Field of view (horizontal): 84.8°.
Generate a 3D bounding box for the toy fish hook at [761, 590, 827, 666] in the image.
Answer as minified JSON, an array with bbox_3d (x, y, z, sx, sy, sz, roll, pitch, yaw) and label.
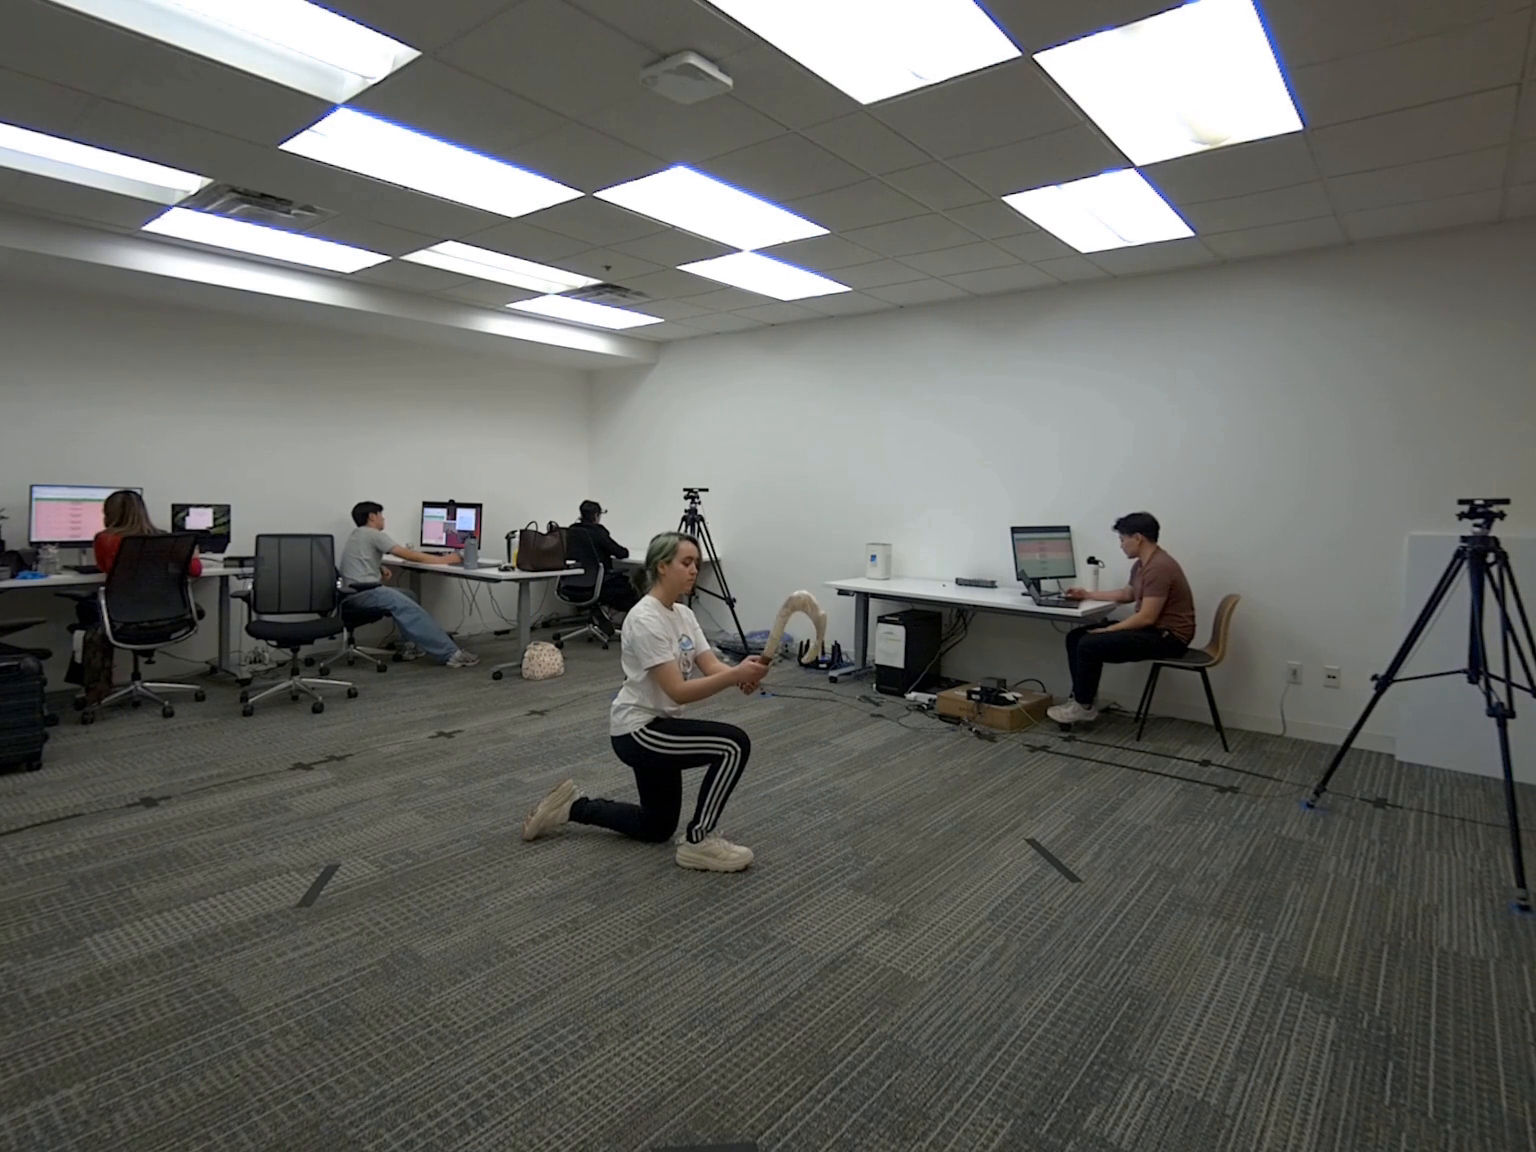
[{"bbox_3d":[0.041,0.278,2.930,0.047,0.503,0.234,4,41,-38],"label":"toy fish hook"}]
